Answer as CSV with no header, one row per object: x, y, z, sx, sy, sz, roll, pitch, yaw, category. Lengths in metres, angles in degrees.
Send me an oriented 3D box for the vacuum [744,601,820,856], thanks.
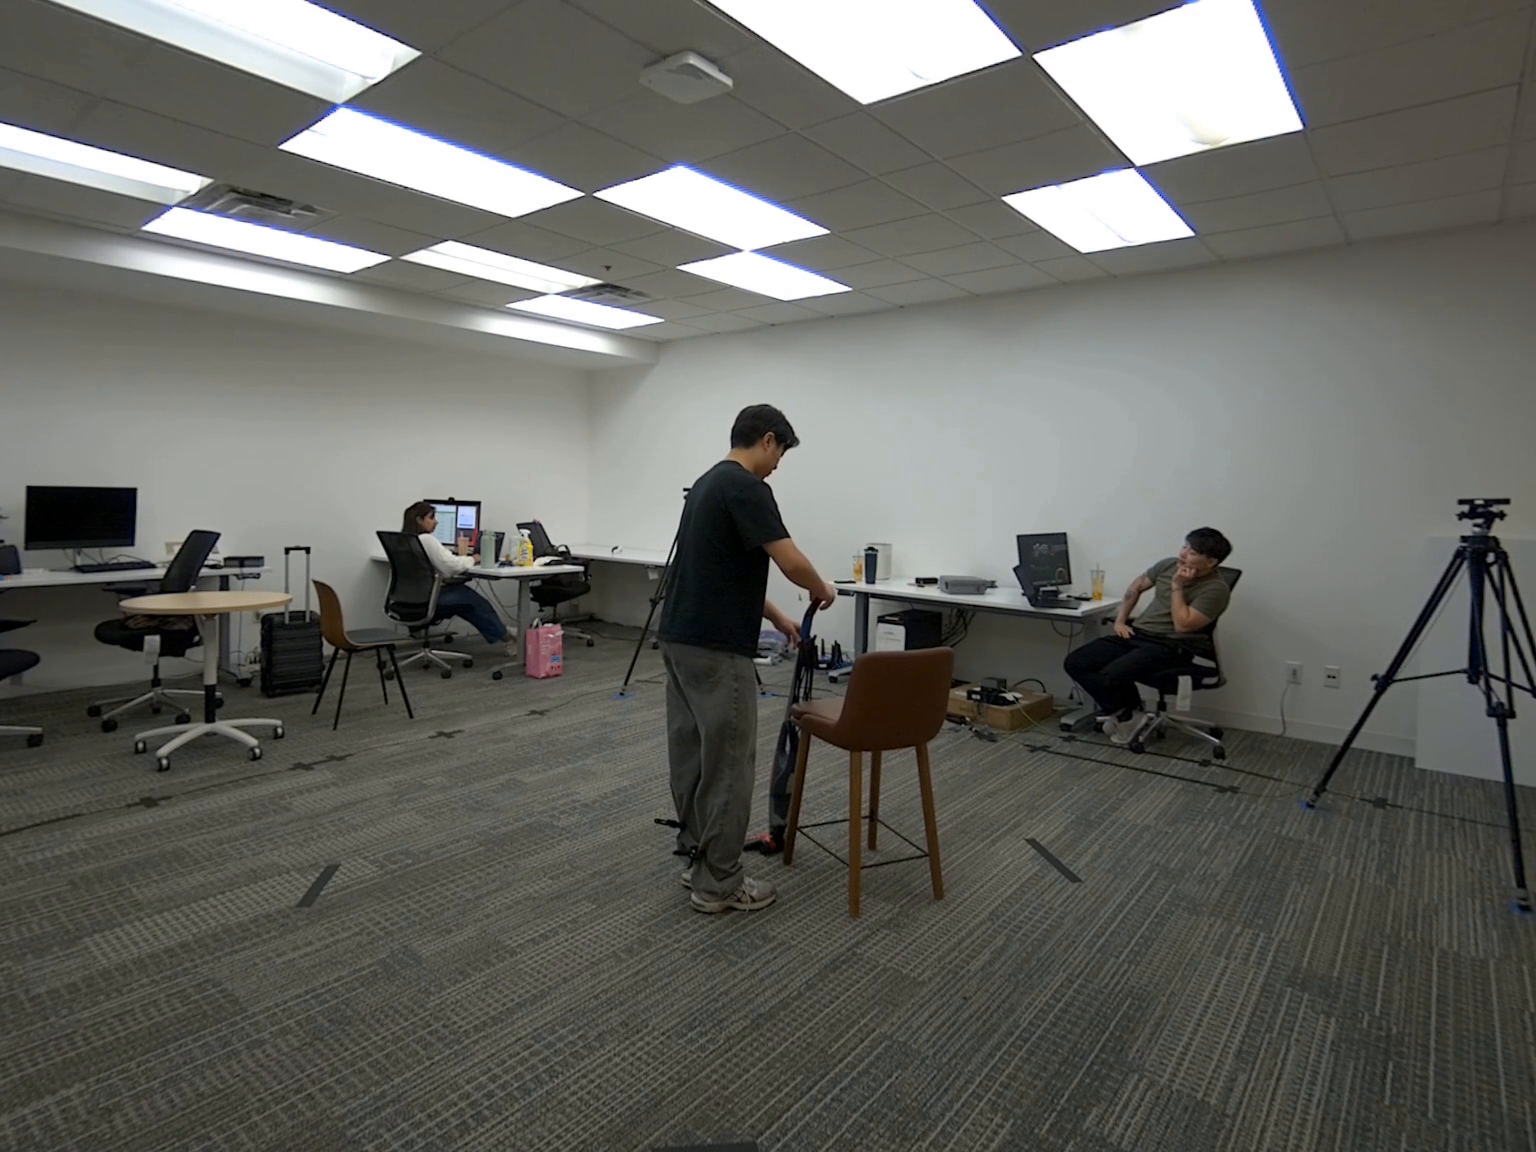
0.092,0.559,3.194,0.245,1.039,0.150,0,16,-38,vacuum
